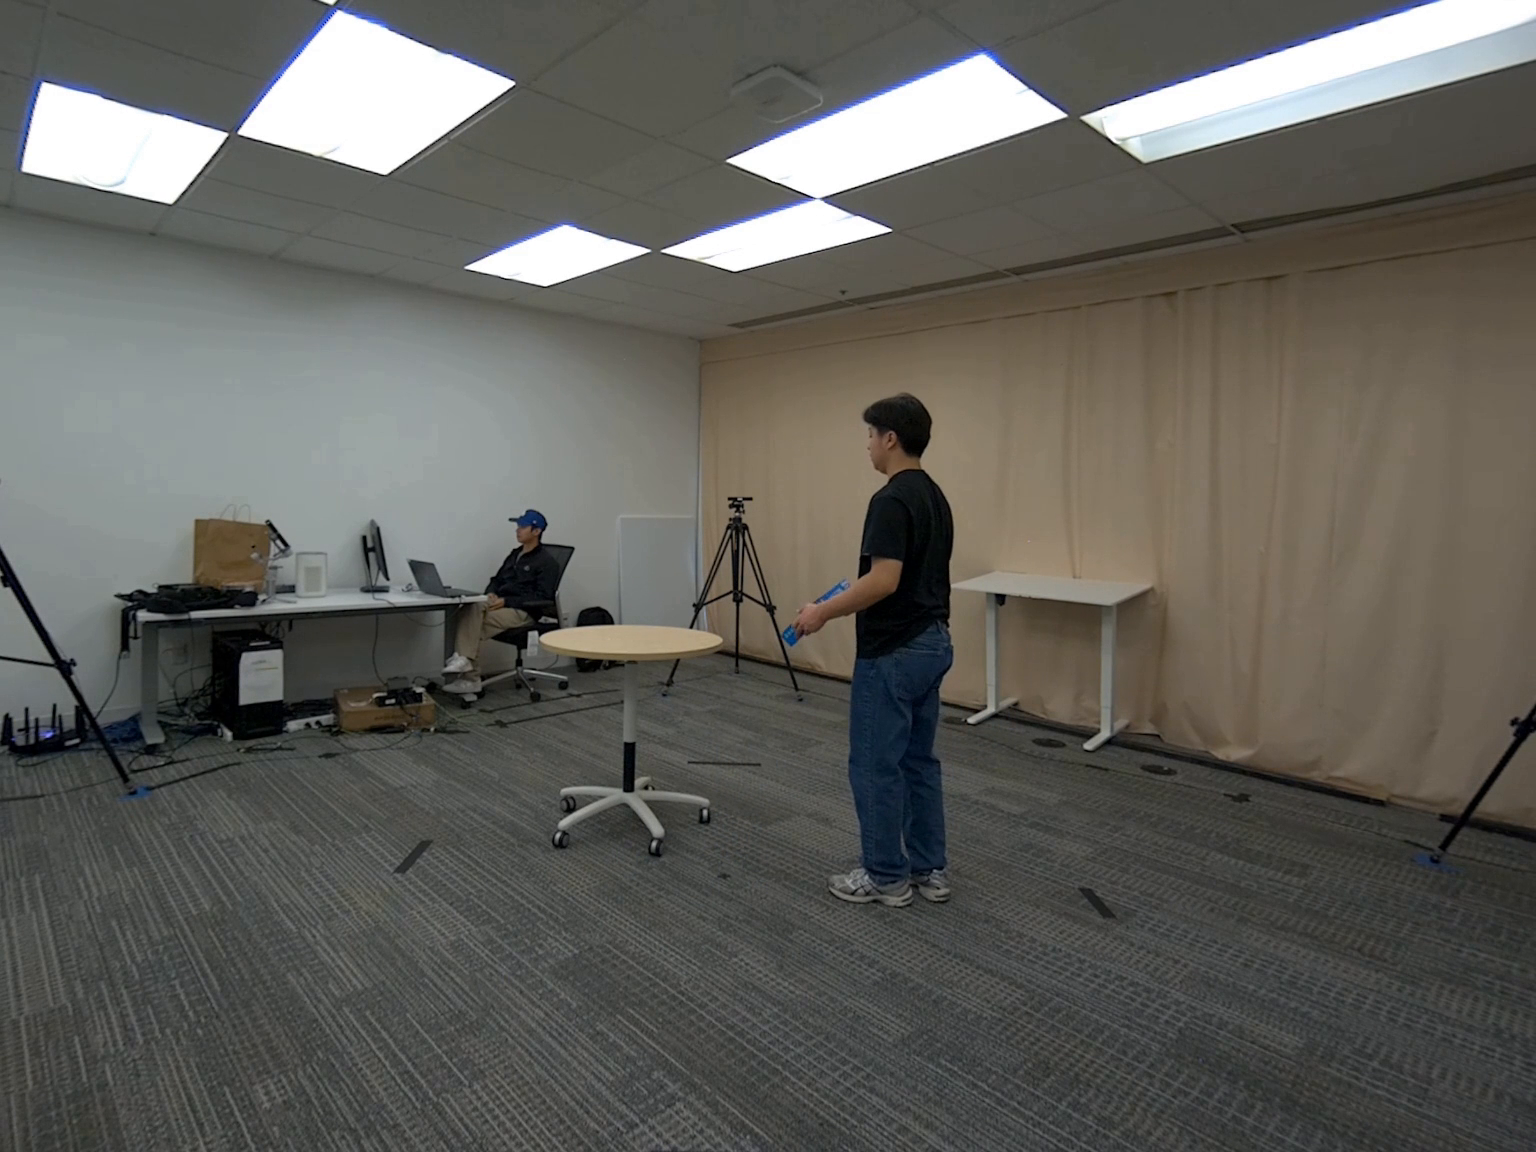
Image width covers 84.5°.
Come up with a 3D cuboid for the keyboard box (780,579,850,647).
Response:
[{"bbox_3d":[0.187,0.134,3.141,0.176,0.060,0.432,-46,-8,24],"label":"keyboard box"}]
